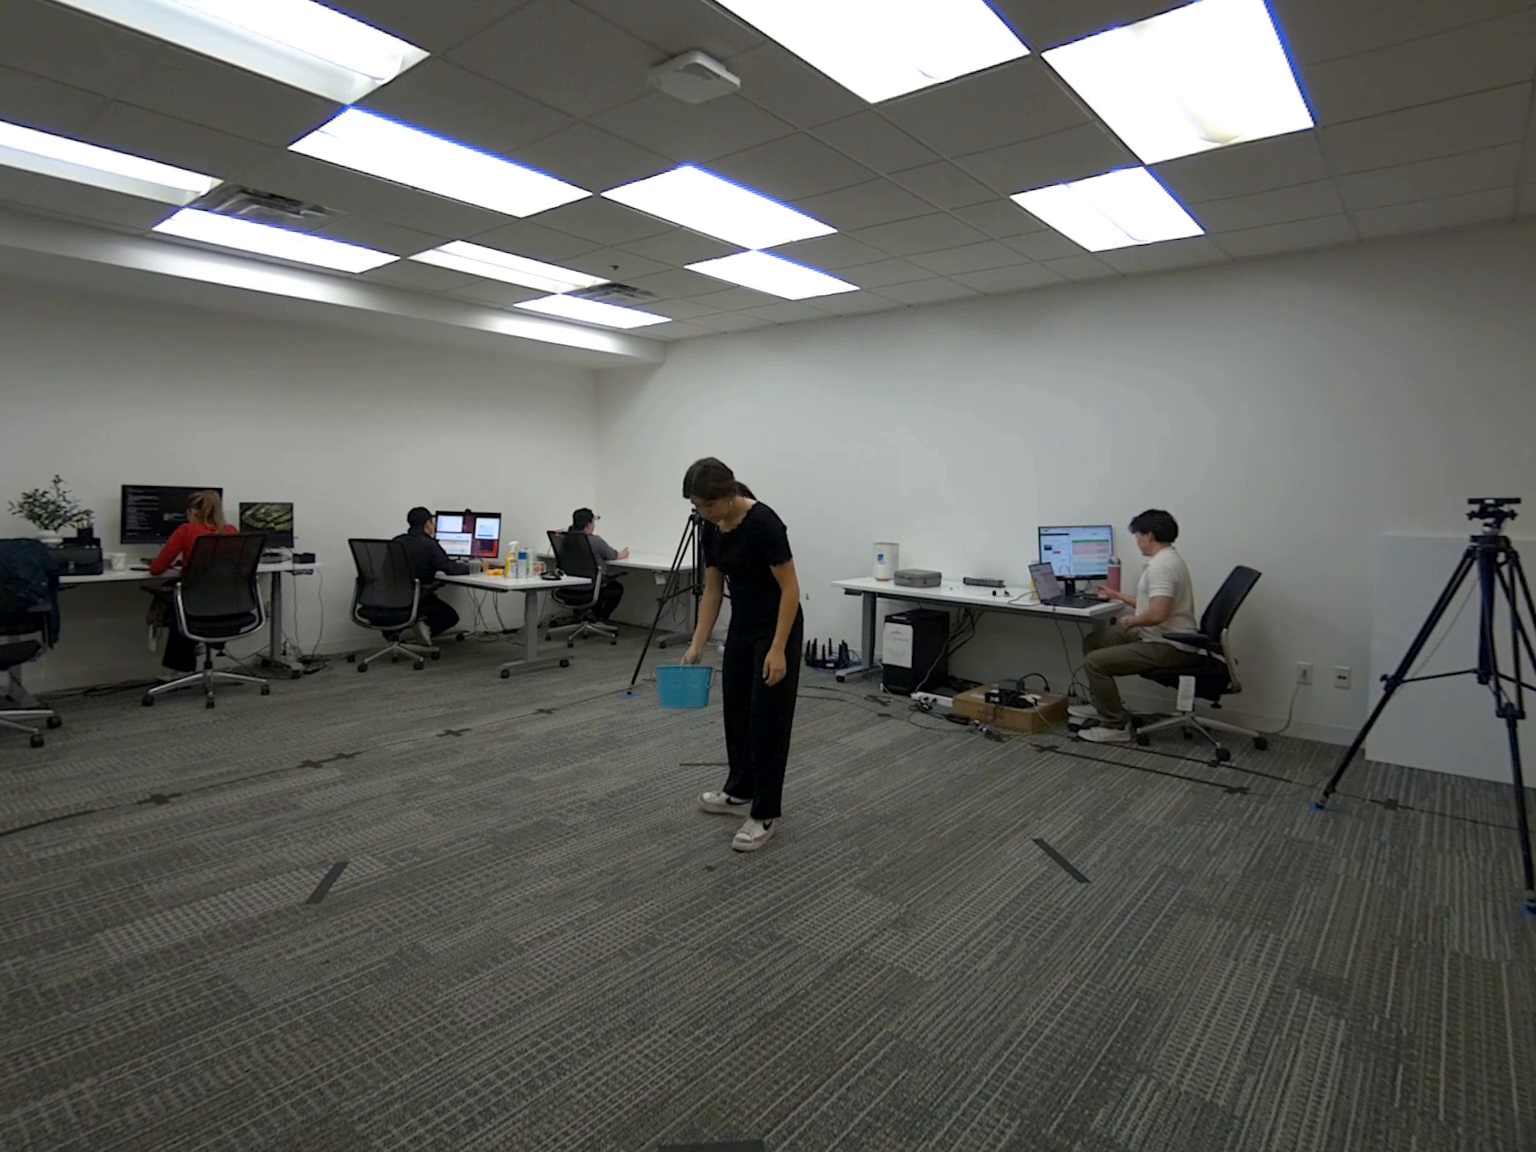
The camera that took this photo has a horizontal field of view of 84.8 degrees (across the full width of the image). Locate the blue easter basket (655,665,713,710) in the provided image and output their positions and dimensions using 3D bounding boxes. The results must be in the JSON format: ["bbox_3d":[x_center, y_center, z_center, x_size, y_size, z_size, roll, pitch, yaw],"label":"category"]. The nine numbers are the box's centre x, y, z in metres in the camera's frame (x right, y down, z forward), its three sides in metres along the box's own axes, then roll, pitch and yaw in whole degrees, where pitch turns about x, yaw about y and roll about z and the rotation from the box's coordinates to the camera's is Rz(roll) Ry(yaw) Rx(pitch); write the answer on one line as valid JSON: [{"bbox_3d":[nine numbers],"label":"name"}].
[{"bbox_3d":[-0.333,0.425,3.290,0.243,0.157,0.241,0,-9,-2],"label":"blue easter basket"}]
